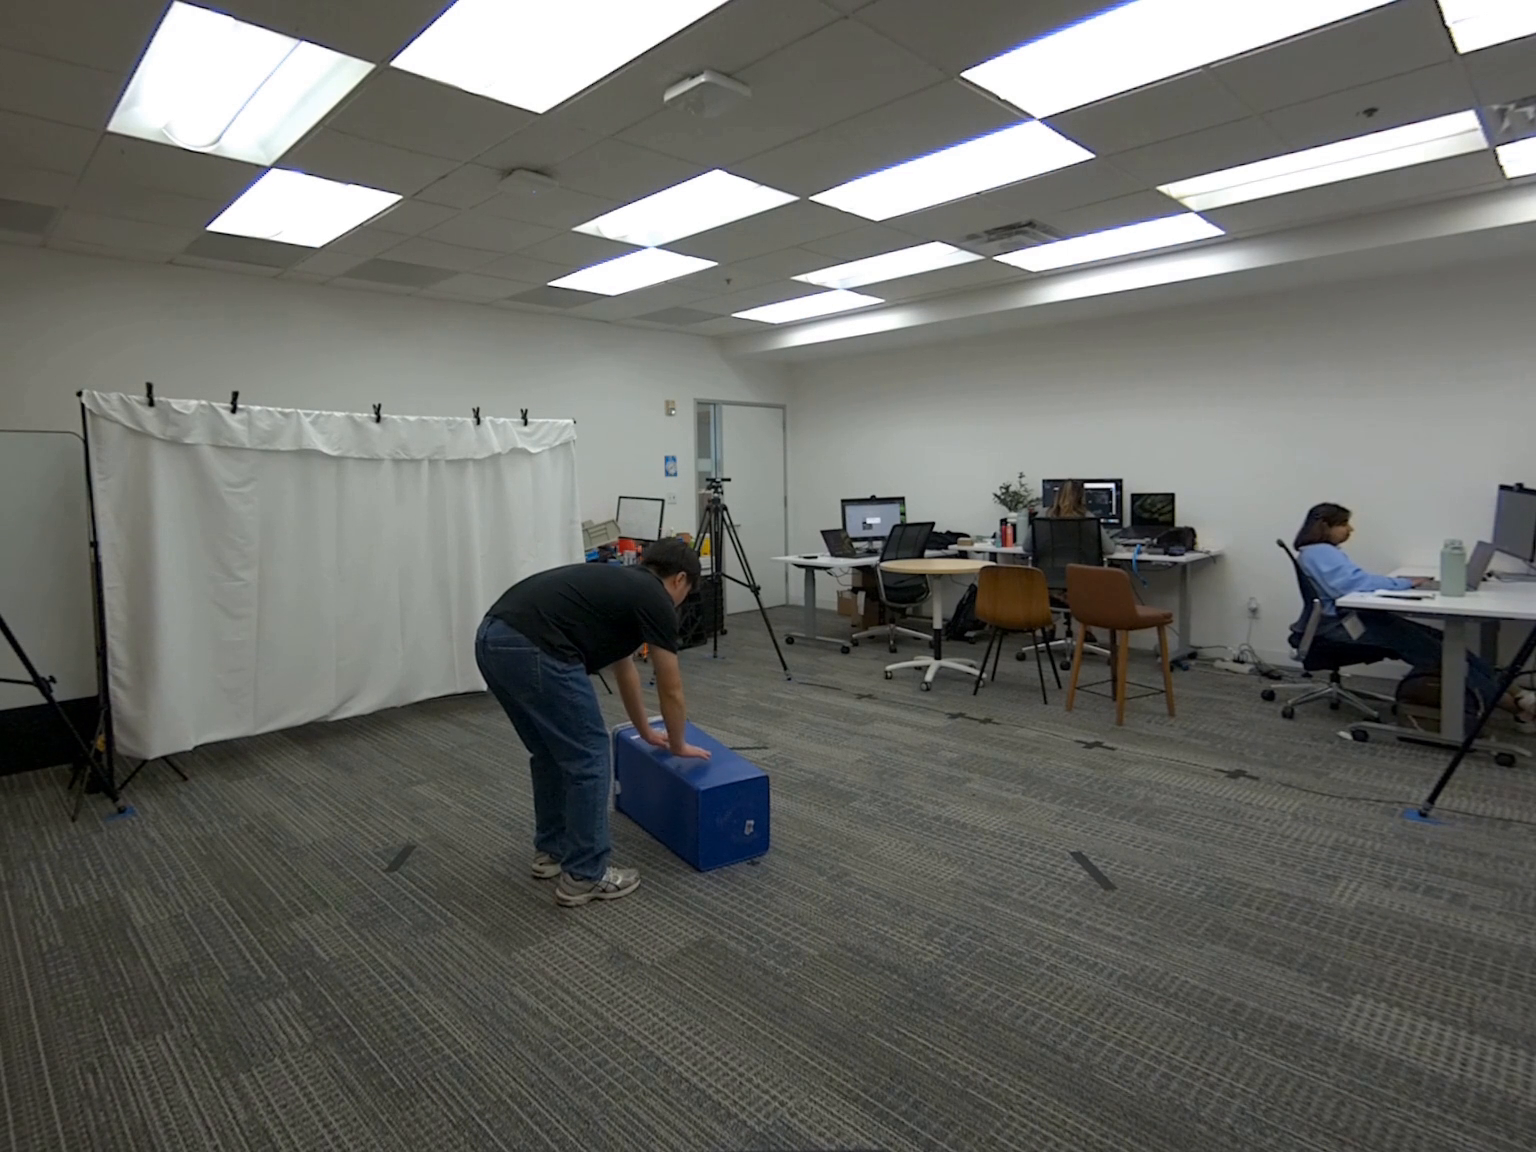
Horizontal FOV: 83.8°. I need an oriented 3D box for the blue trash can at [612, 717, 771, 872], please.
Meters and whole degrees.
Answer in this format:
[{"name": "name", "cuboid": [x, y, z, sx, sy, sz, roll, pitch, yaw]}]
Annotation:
[{"name": "blue trash can", "cuboid": [-0.307, 0.846, 3.399, 0.365, 0.375, 0.736, -4, 10, -33]}]
